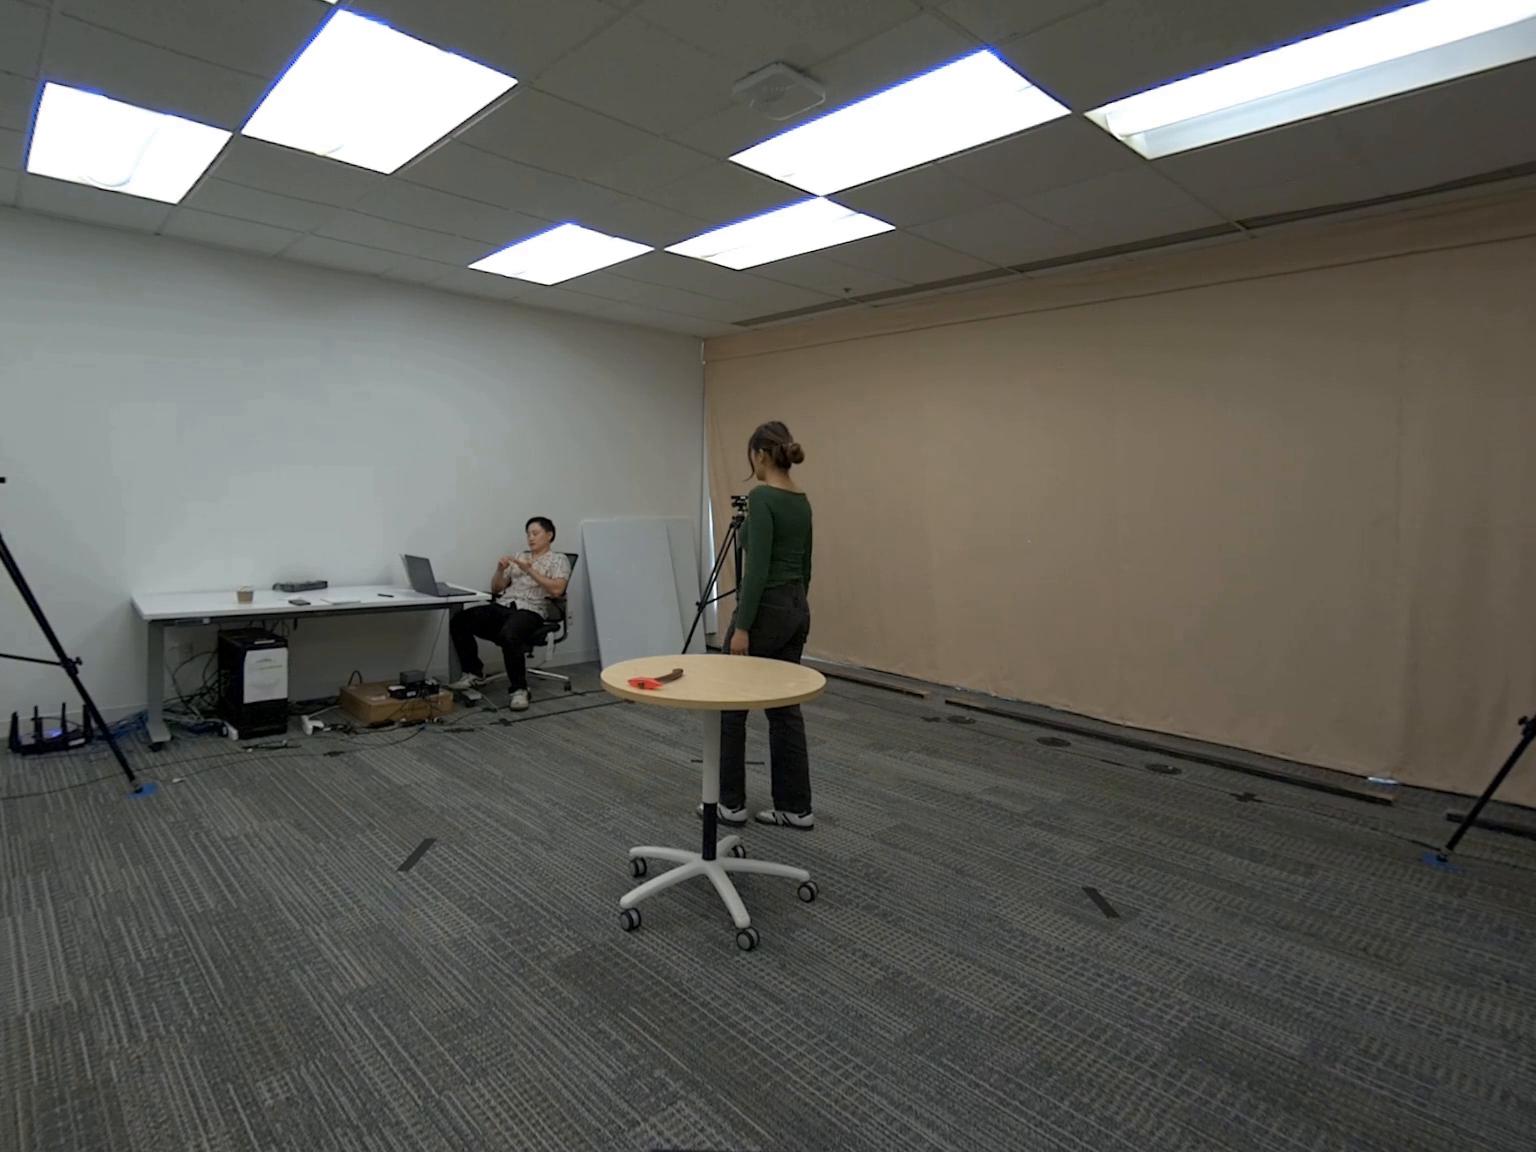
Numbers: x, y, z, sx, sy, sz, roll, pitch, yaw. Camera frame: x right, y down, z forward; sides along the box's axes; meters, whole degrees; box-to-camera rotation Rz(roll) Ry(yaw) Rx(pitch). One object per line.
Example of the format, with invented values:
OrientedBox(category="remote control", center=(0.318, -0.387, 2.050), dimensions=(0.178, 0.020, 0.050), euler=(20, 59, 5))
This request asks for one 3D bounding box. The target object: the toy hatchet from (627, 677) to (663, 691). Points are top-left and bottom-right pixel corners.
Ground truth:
OrientedBox(category="toy hatchet", center=(-0.381, 0.335, 2.748), dimensions=(0.132, 0.029, 0.269), euler=(-1, 2, 6))
